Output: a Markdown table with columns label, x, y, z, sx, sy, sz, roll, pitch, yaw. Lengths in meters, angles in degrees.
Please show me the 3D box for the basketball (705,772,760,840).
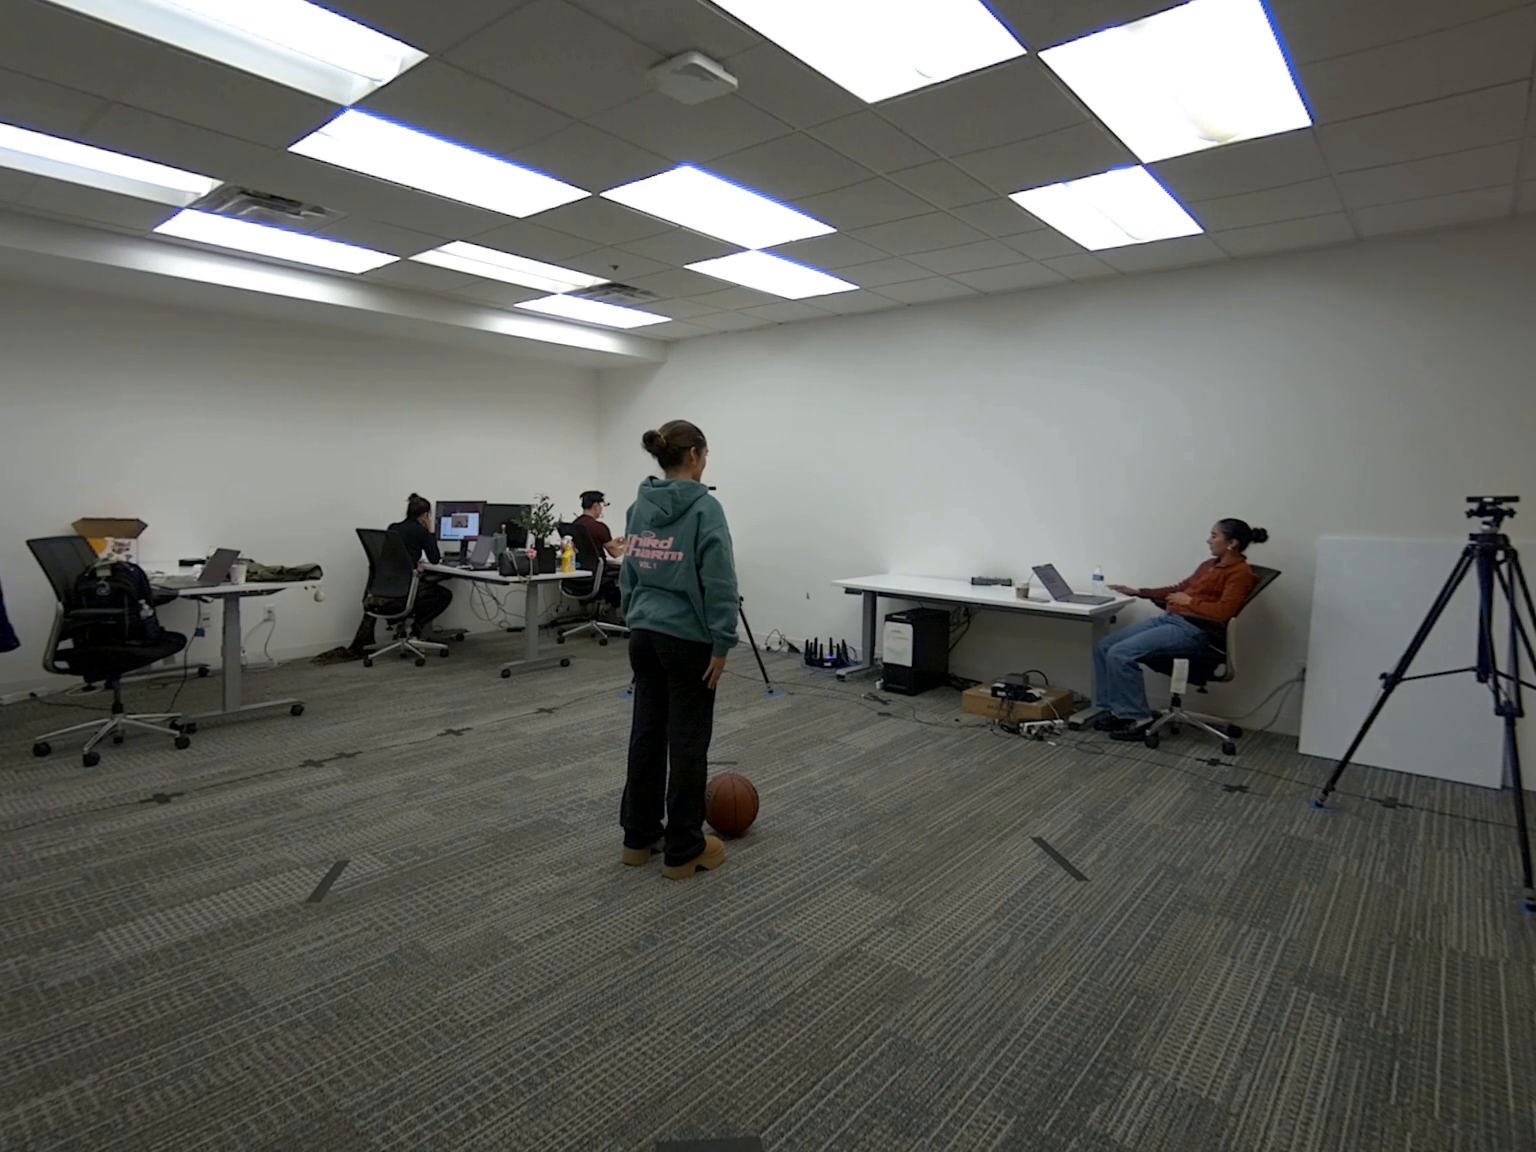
| label | x | y | z | sx | sy | sz | roll | pitch | yaw |
| --- | --- | --- | --- | --- | --- | --- | --- | --- | --- |
| basketball | -0.164 | 0.914 | 3.438 | 0.235 | 0.235 | 0.237 | 1 | 4 | -2 |
